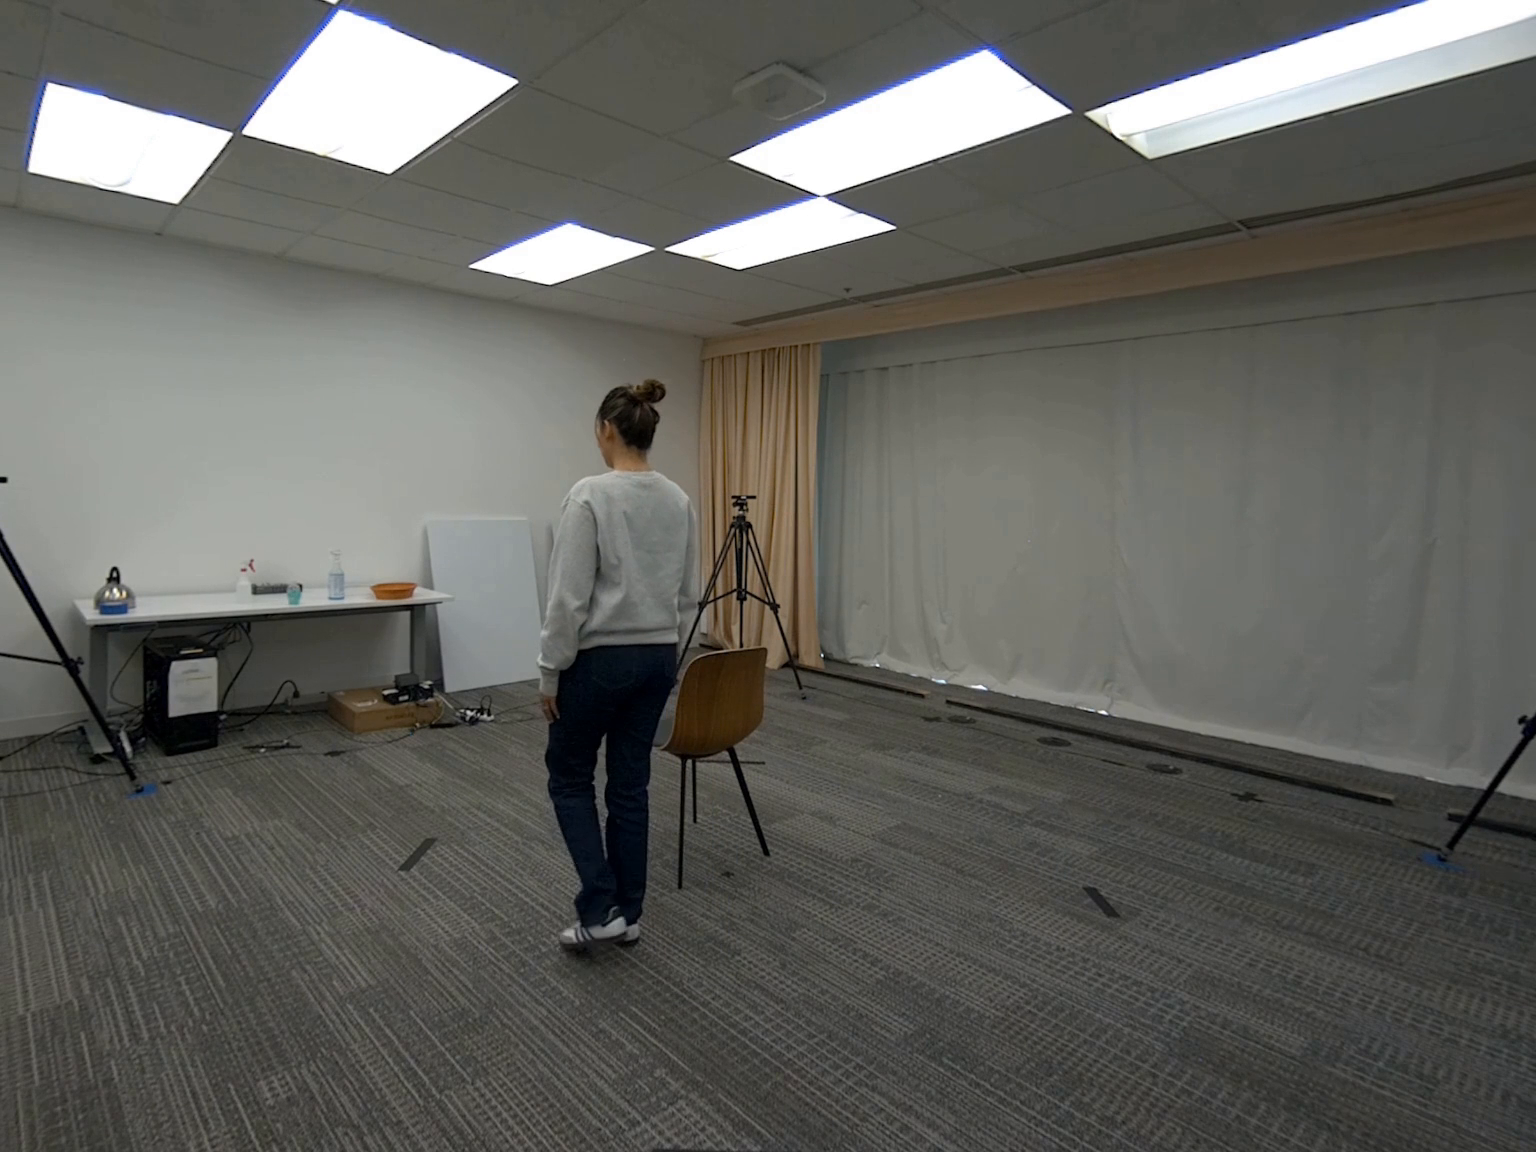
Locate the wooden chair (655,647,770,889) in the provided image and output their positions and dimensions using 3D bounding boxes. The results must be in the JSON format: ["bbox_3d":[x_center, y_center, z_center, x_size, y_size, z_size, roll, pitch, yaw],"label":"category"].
[{"bbox_3d":[-0.310,0.658,3.268,0.467,0.873,0.538,-3,10,-43],"label":"wooden chair"}]
